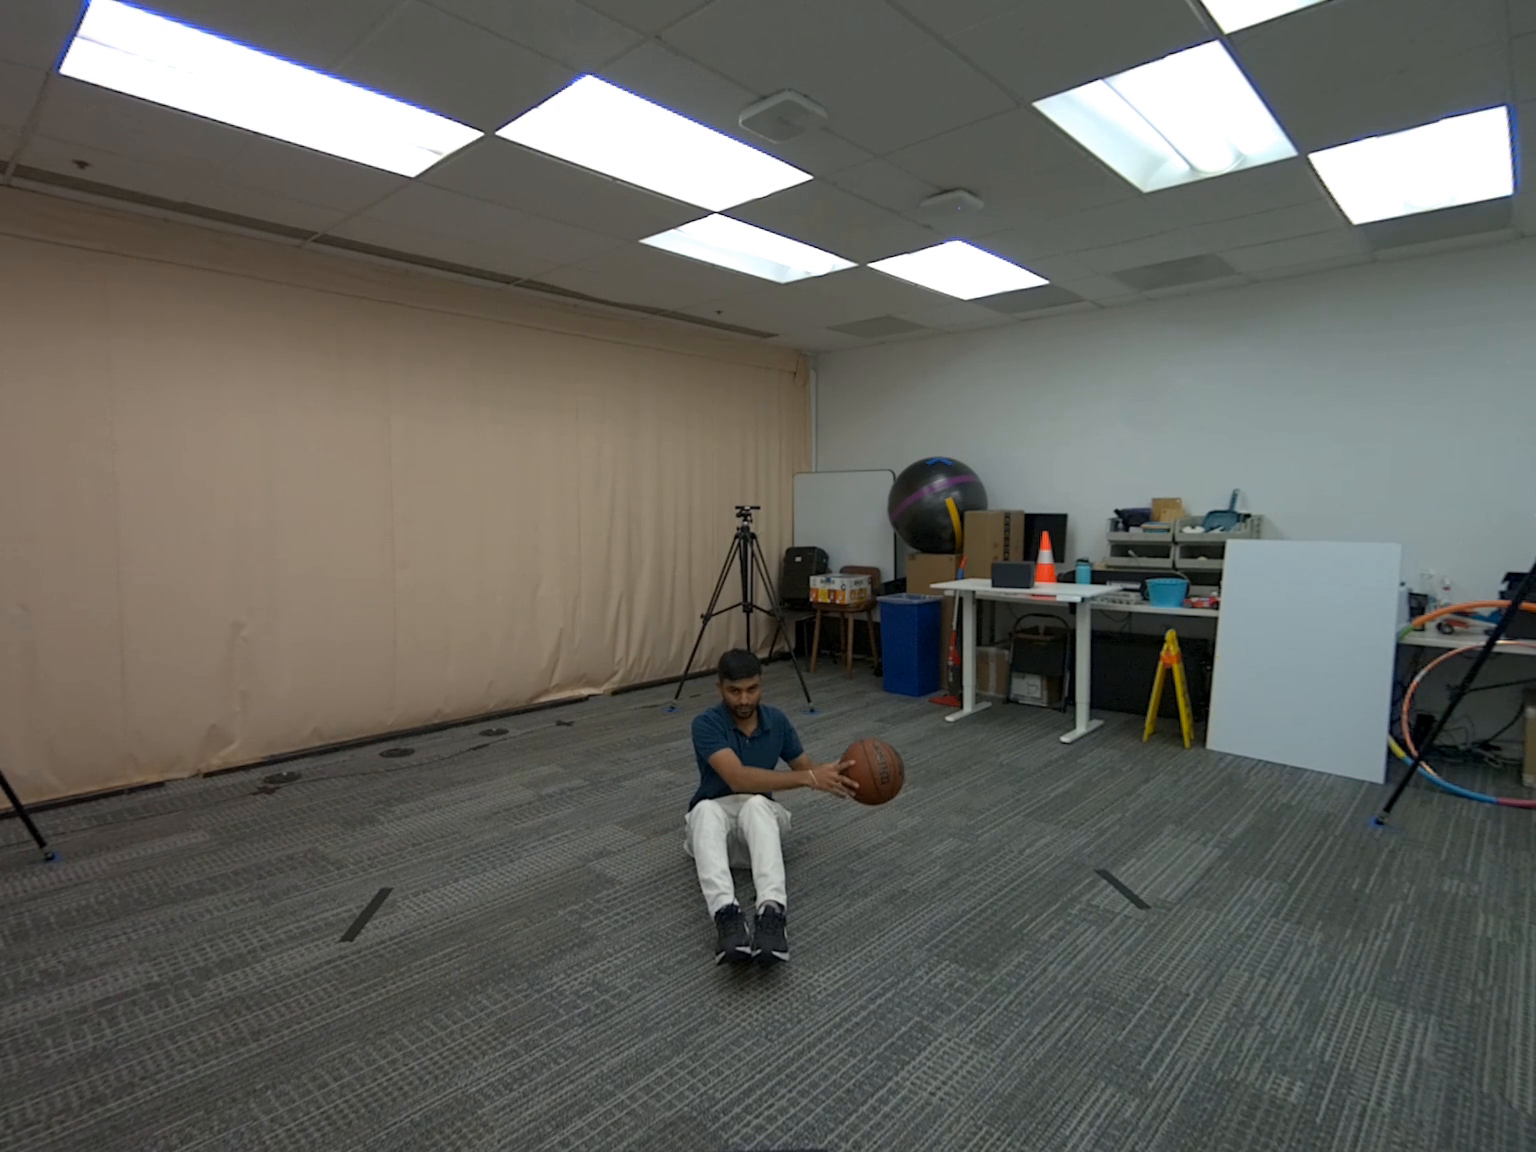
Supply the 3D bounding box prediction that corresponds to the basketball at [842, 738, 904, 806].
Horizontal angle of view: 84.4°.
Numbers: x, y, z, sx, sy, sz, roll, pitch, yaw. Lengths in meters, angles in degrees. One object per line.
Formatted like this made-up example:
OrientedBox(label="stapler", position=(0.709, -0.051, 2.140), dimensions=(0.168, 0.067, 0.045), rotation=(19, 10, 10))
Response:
OrientedBox(label="basketball", position=(0.384, 0.742, 3.090), dimensions=(0.236, 0.235, 0.237), rotation=(0, 4, -2))
